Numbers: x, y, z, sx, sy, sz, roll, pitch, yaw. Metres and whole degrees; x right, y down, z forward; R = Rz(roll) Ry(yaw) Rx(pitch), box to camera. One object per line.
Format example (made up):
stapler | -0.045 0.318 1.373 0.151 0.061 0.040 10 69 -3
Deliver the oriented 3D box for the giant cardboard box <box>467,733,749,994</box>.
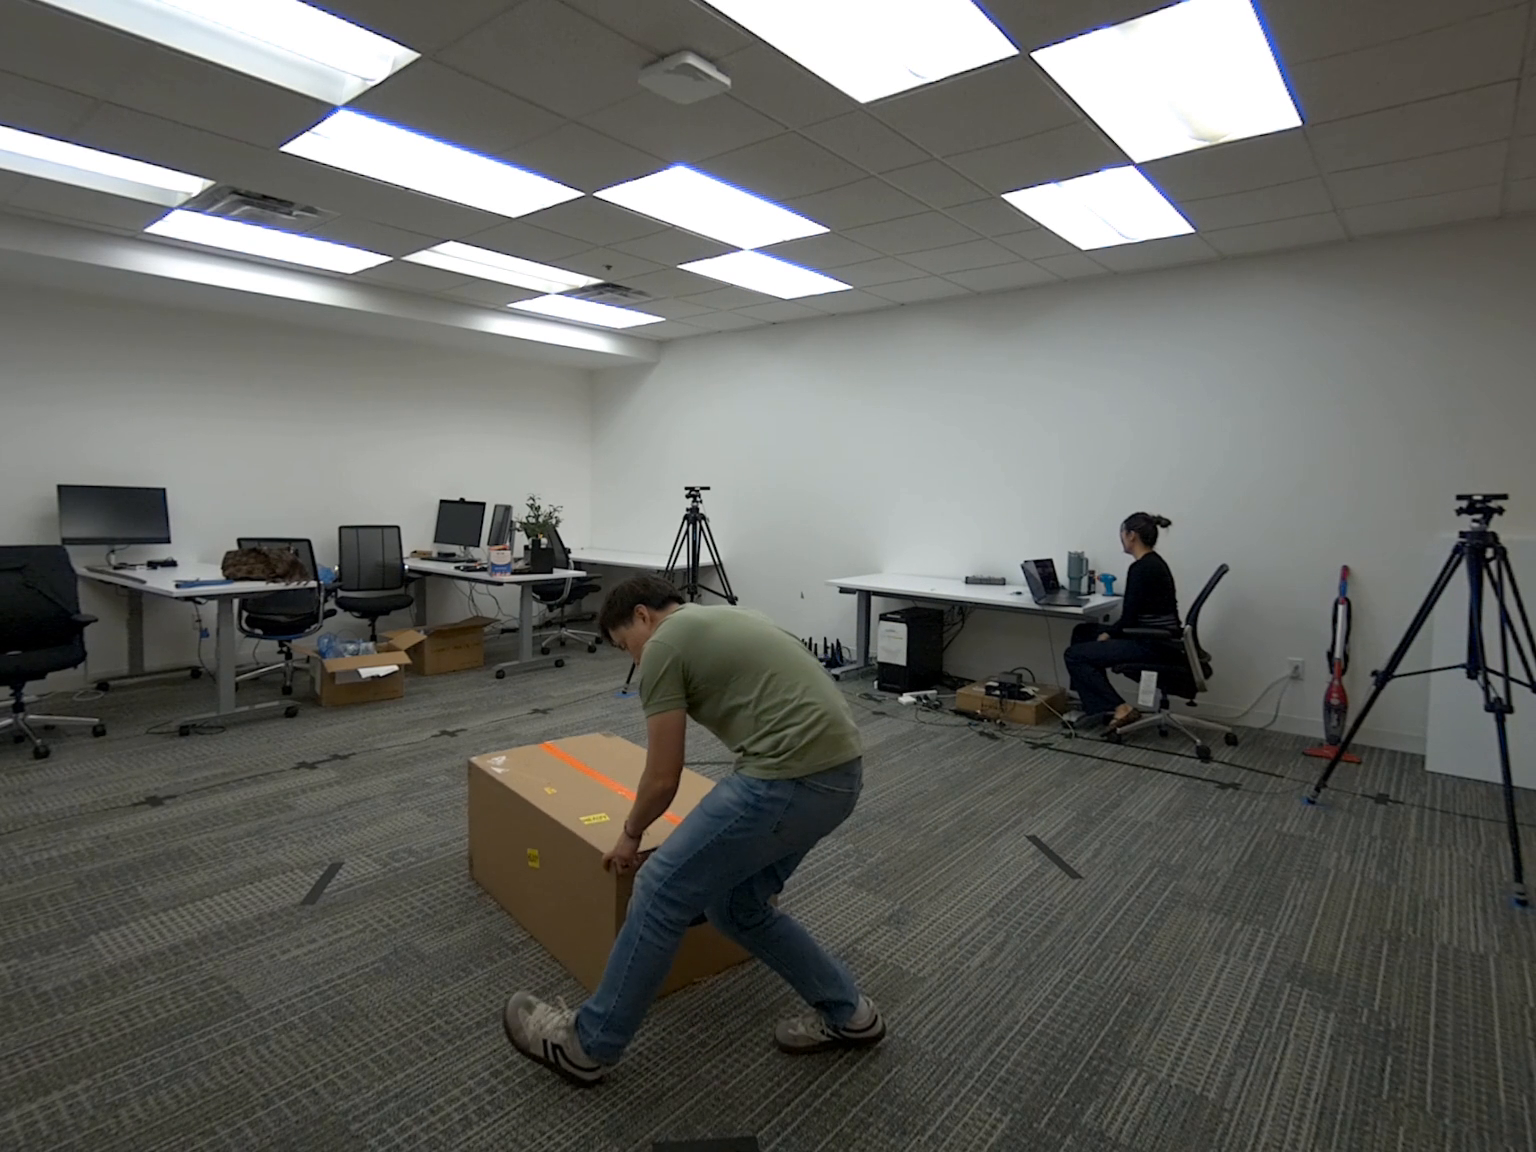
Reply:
giant cardboard box | -0.529 0.880 2.791 0.561 0.424 1.061 -4 8 -39
